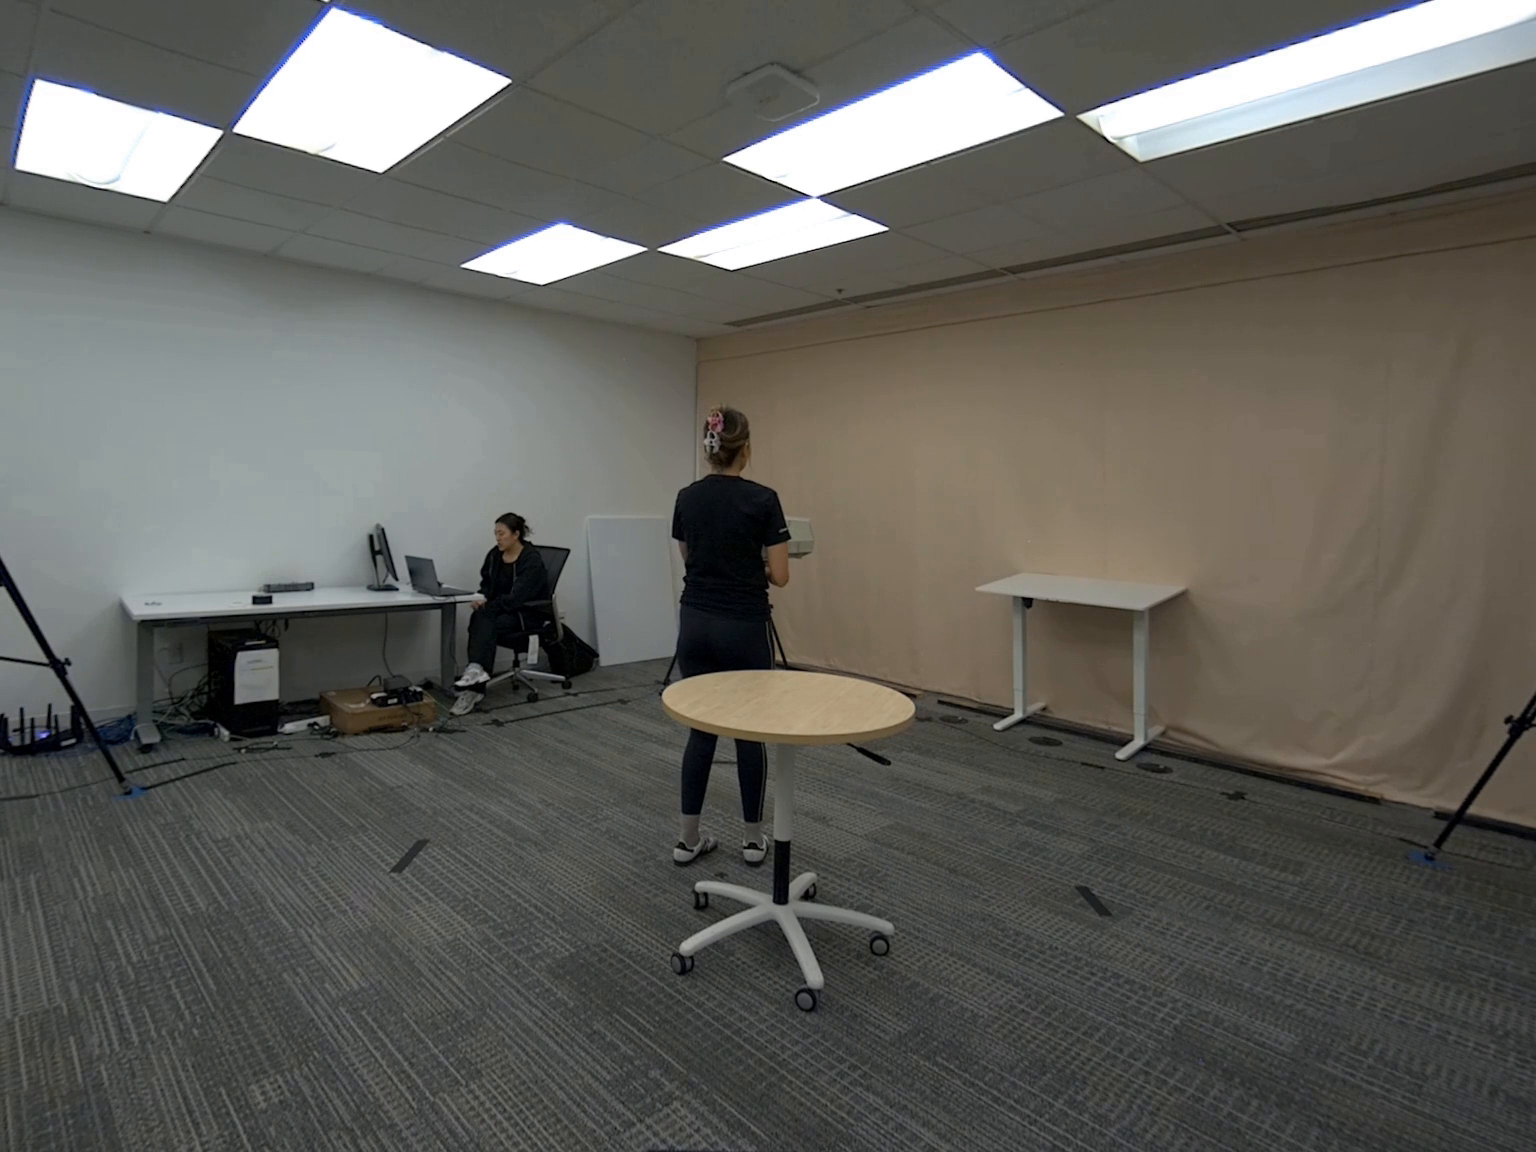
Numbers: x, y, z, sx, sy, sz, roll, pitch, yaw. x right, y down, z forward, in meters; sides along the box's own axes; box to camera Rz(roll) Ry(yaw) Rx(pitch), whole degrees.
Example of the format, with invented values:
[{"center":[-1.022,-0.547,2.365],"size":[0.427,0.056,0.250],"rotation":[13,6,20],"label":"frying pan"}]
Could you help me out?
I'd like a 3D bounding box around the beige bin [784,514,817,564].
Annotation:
[{"center":[-0.060,-0.173,3.585],"size":[0.385,0.188,0.414],"rotation":[7,6,27],"label":"beige bin"}]
